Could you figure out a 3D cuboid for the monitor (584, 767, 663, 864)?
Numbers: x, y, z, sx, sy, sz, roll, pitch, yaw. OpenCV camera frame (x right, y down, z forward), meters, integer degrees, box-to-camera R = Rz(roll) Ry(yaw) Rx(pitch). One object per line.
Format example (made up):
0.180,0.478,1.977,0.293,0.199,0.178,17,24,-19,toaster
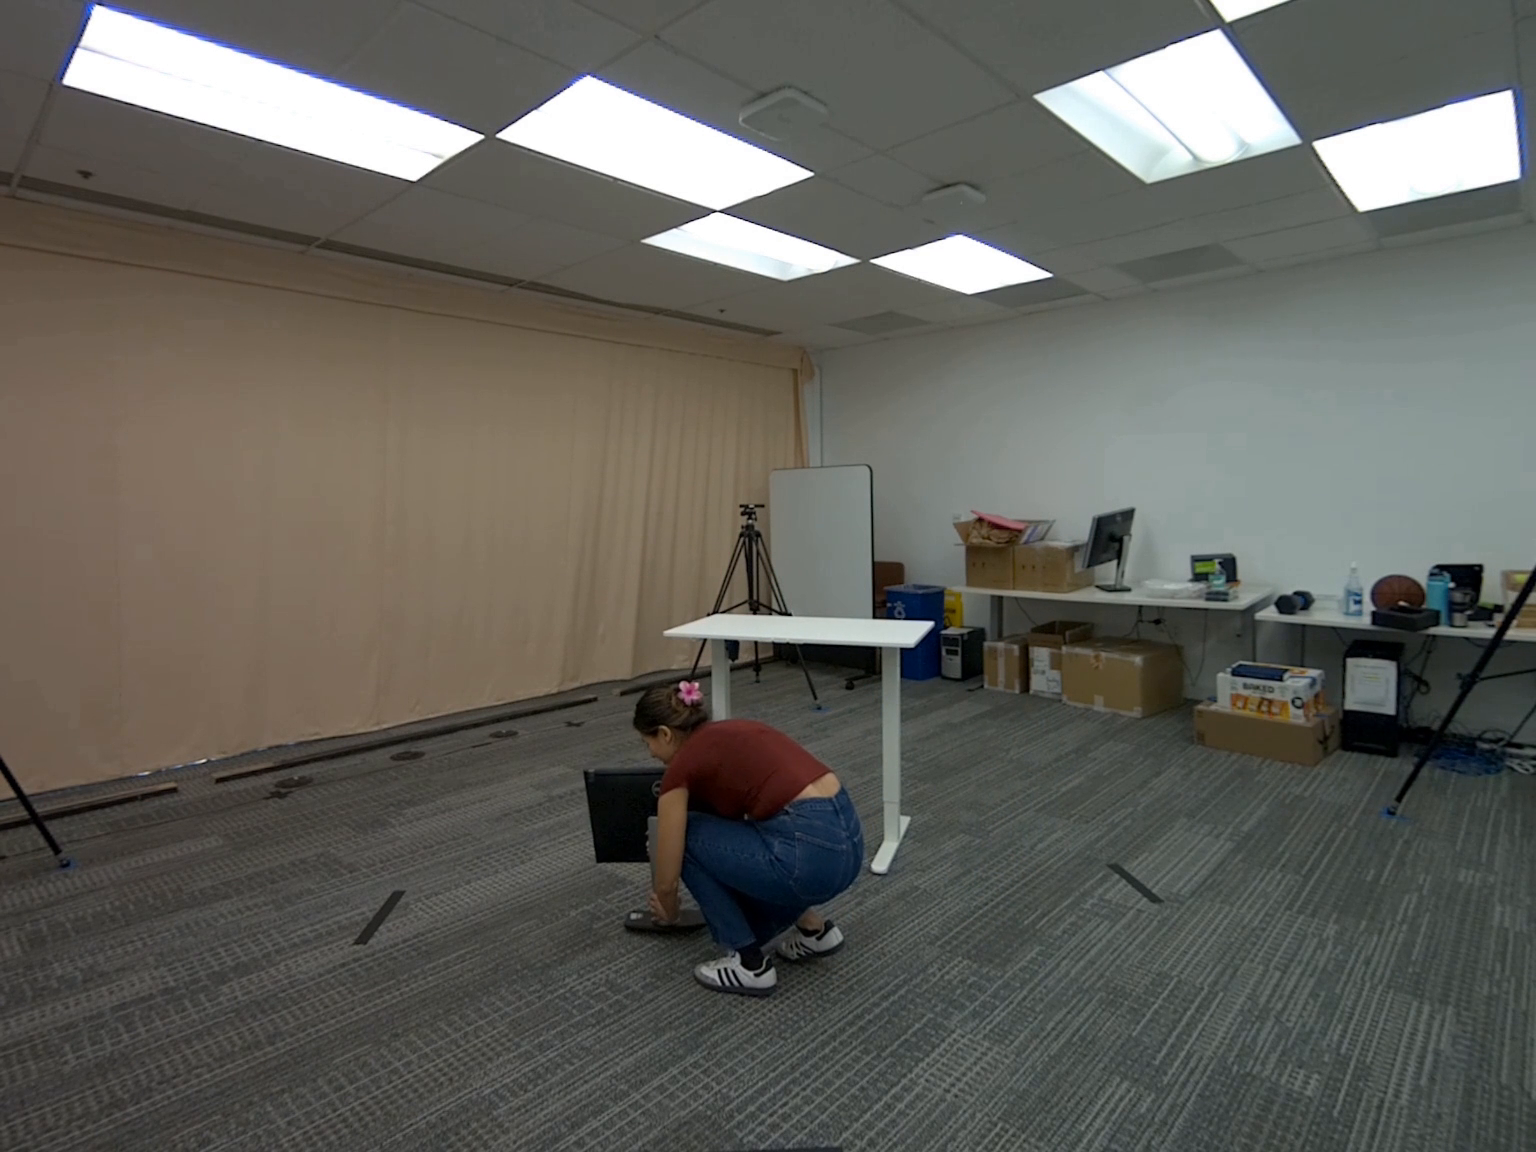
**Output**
-0.347,0.907,2.804,0.544,0.523,0.185,-2,-1,9,monitor
